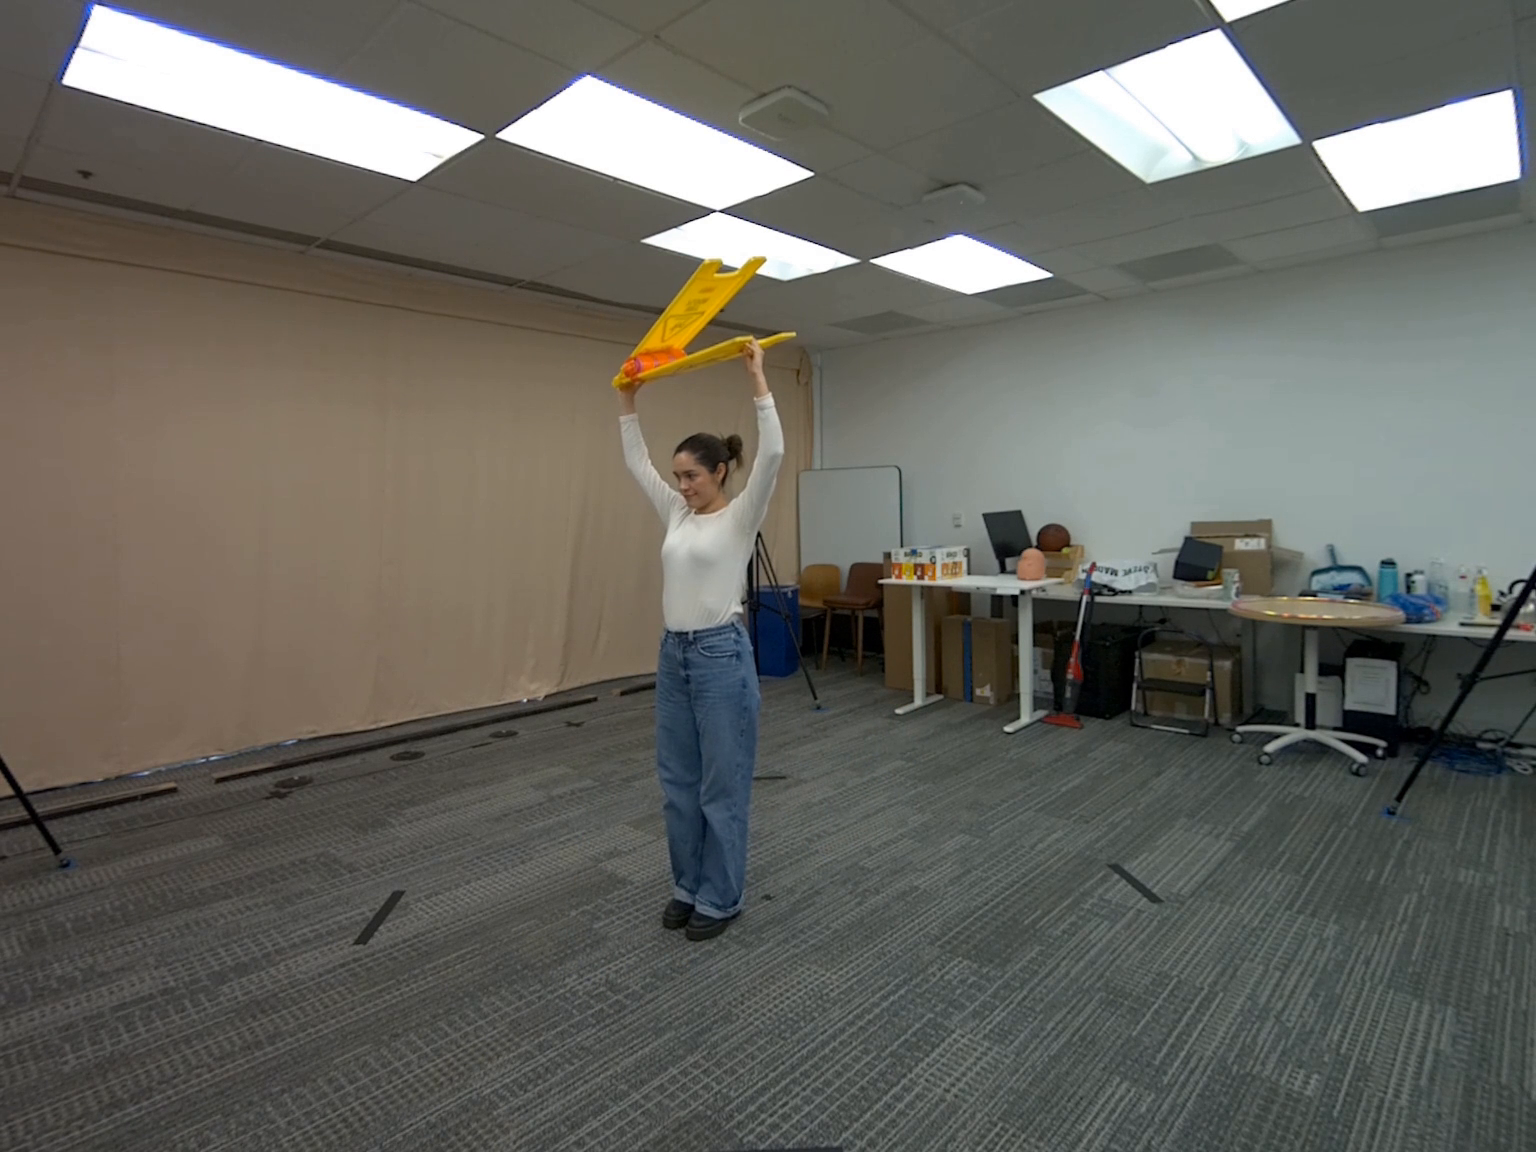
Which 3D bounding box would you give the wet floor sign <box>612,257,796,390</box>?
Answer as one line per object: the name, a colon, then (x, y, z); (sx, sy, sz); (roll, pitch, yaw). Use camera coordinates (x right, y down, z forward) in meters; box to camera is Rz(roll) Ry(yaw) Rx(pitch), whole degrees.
wet floor sign: (-0.264, -0.763, 2.766); (0.662, 0.289, 0.275); (-18, 2, 44)
